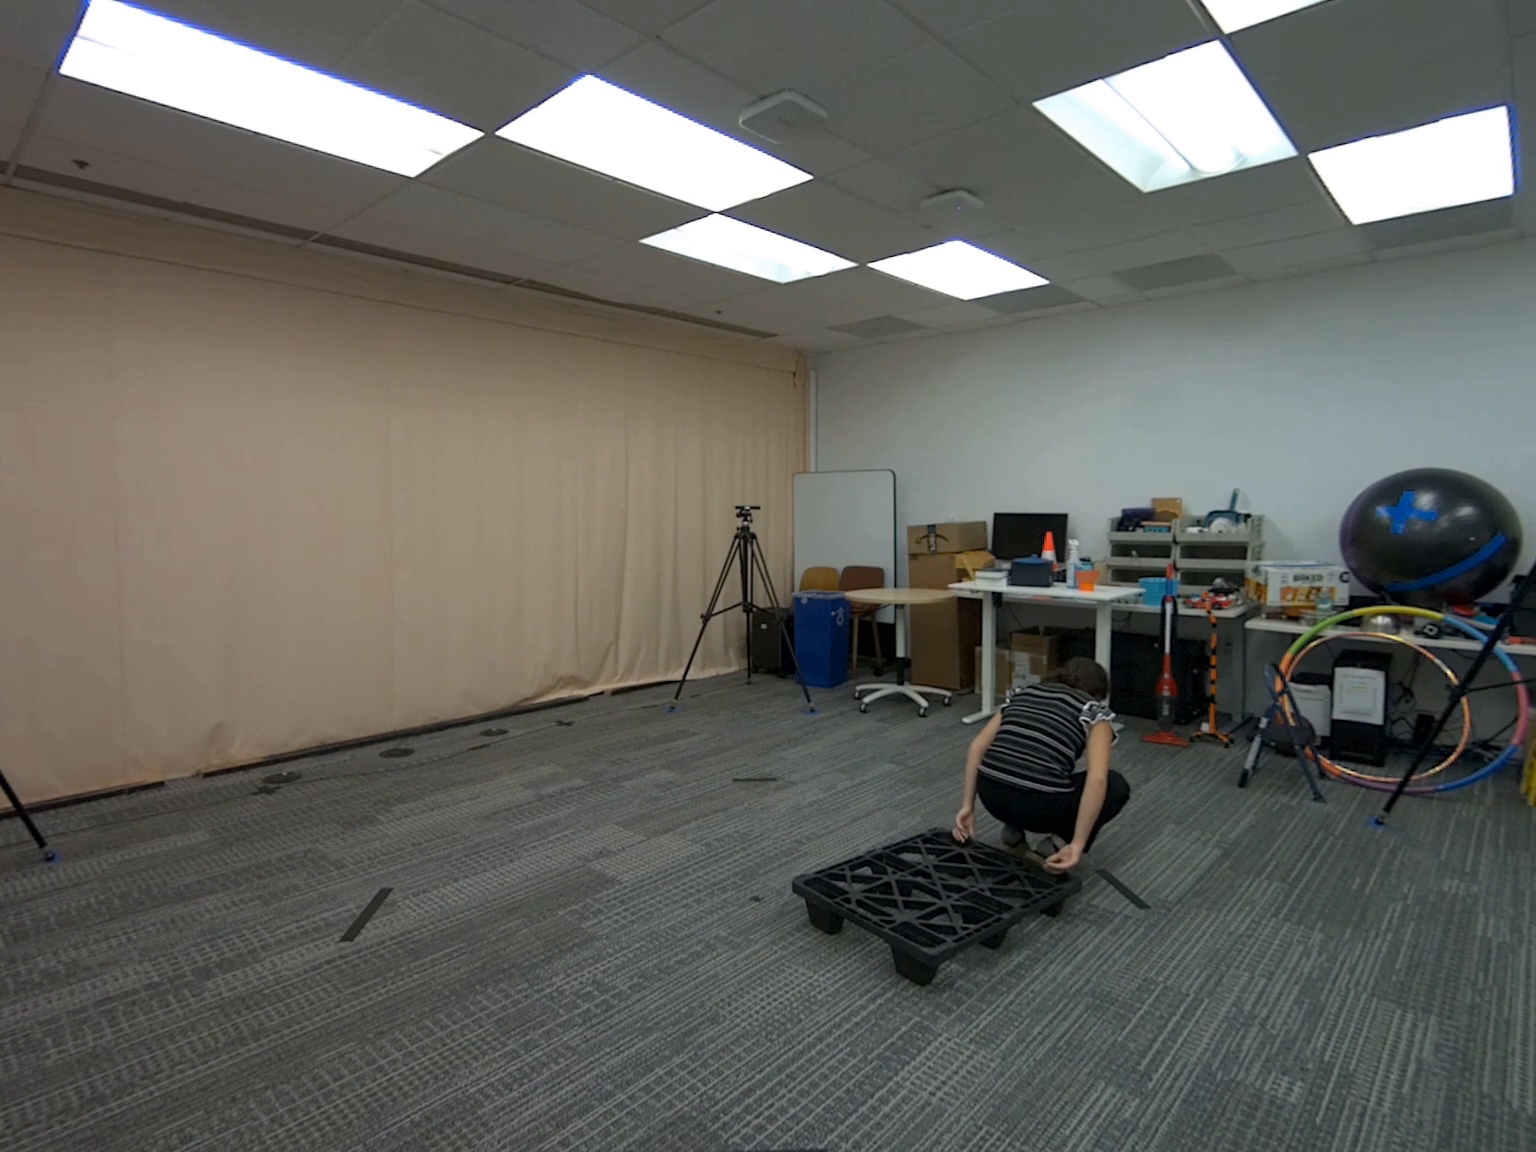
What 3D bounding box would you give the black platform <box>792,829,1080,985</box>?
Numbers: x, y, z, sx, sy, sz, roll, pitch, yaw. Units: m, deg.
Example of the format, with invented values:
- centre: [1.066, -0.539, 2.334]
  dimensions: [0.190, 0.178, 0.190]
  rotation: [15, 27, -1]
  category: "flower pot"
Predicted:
- centre: [0.578, 1.086, 2.831]
  dimensions: [0.781, 0.143, 0.625]
  rotation: [-4, 7, -39]
  category: "black platform"
